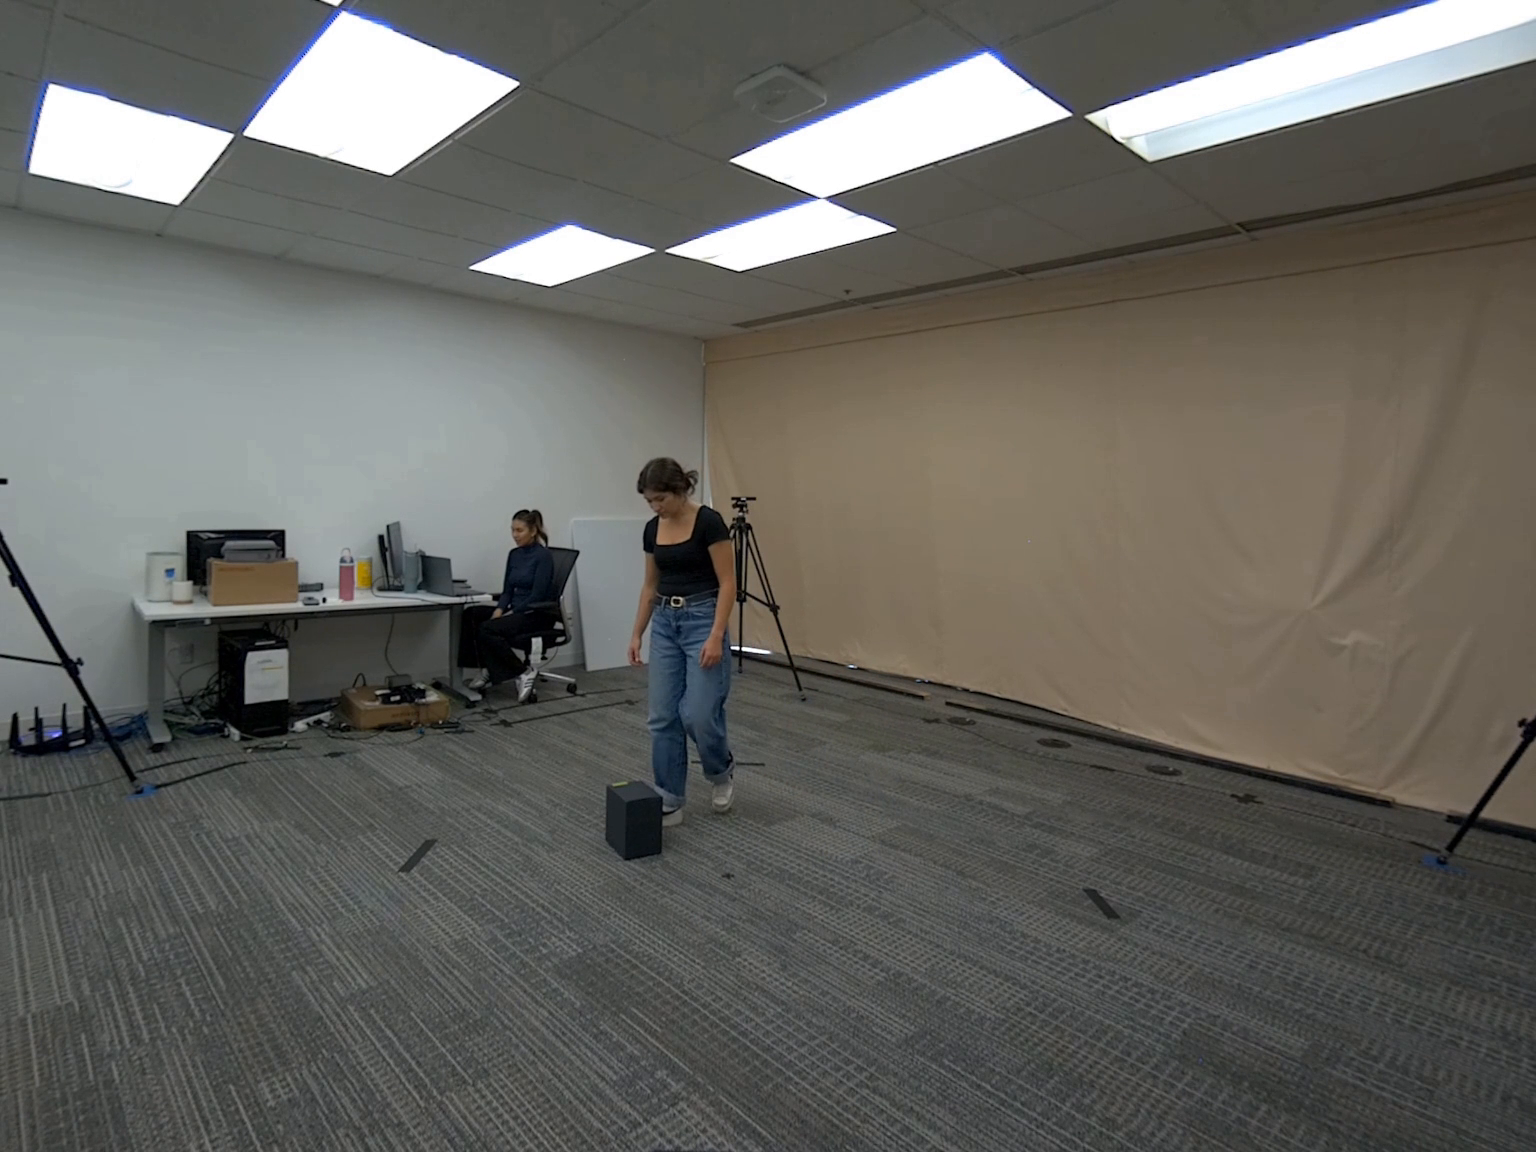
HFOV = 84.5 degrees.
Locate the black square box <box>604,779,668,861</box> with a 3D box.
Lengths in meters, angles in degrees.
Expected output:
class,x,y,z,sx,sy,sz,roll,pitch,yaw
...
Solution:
class,x,y,z,sx,sy,sz,roll,pitch,yaw
black square box,-0.545,0.959,3.329,0.153,0.227,0.222,-1,4,-29
